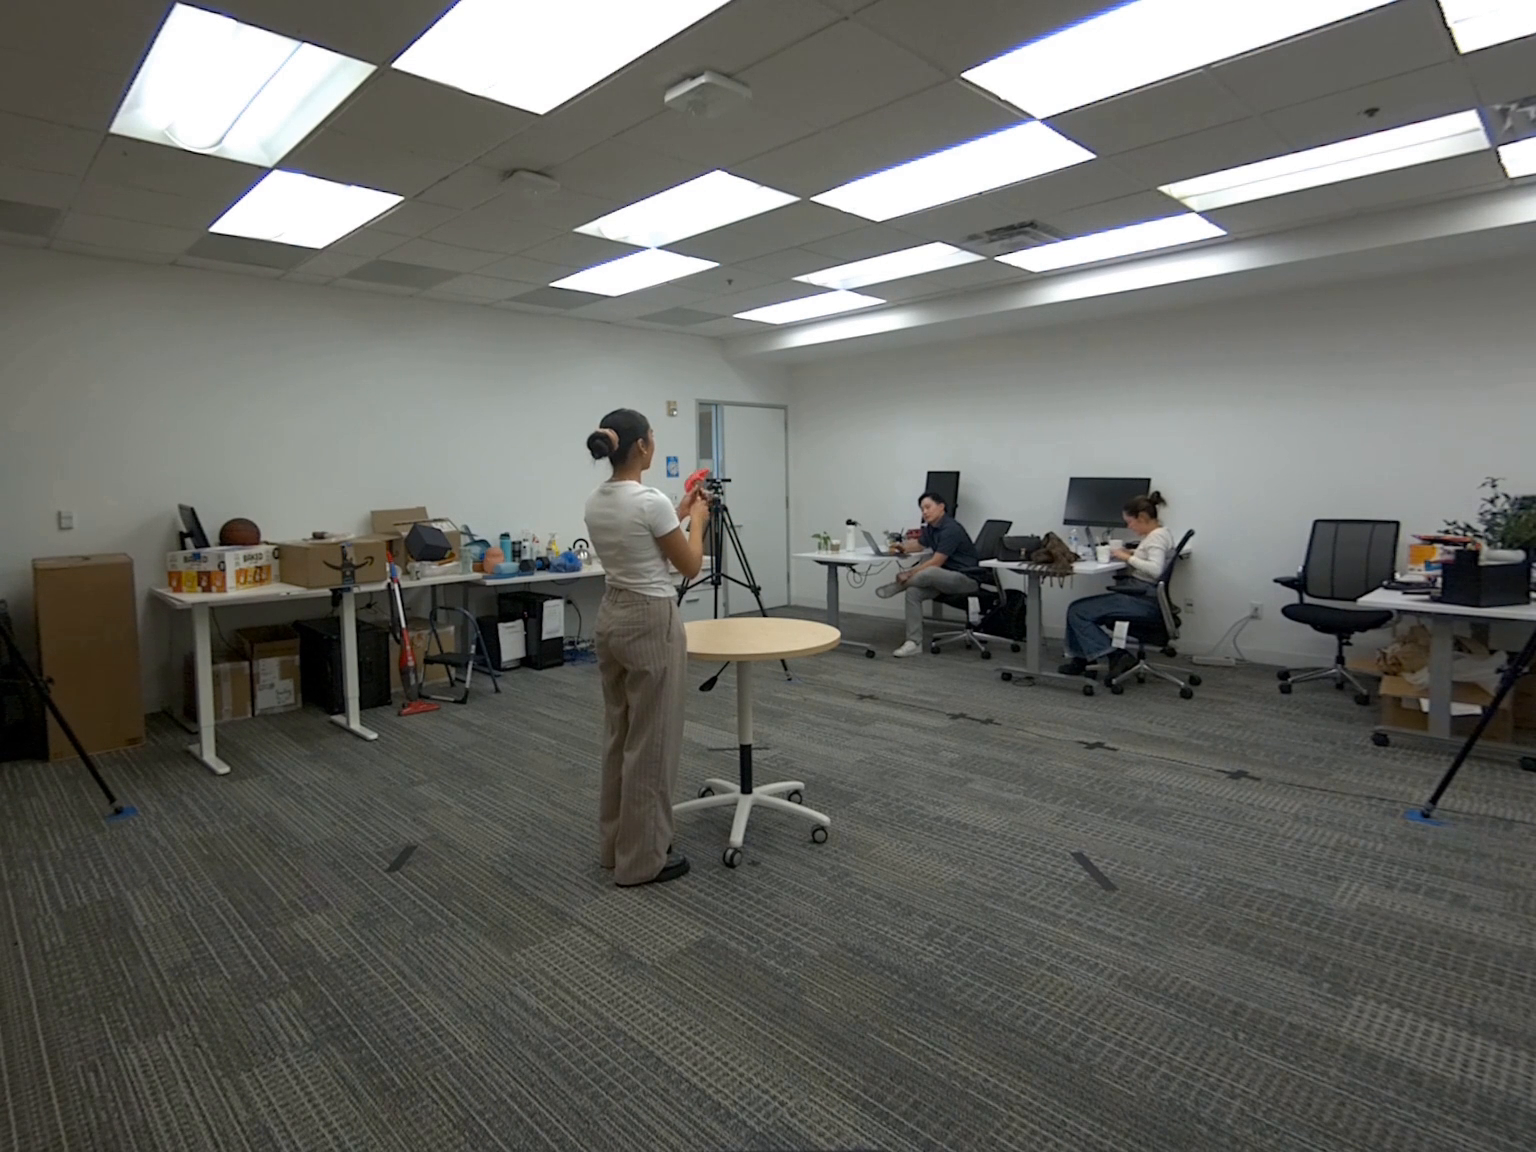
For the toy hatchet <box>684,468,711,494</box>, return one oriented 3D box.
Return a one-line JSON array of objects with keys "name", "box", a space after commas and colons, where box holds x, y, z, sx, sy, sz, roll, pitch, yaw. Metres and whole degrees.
[{"name": "toy hatchet", "box": [-0.307, -0.292, 3.286, 0.134, 0.273, 0.028, -7, -29, 43]}]
